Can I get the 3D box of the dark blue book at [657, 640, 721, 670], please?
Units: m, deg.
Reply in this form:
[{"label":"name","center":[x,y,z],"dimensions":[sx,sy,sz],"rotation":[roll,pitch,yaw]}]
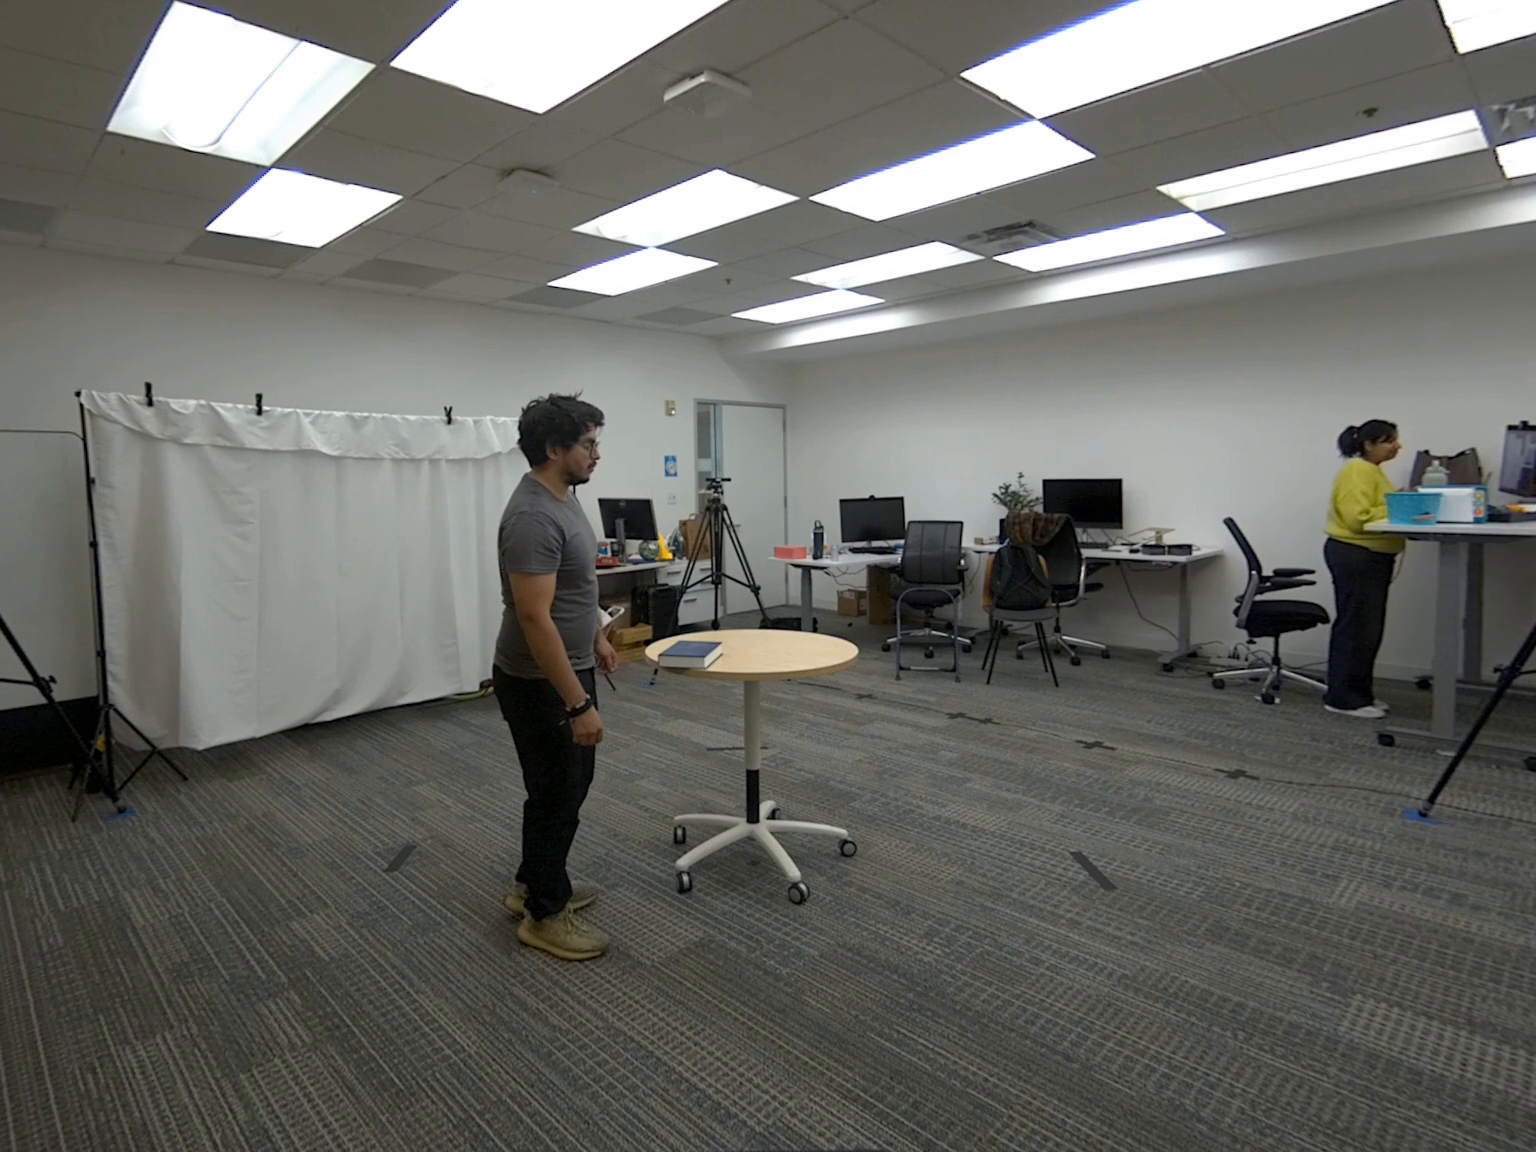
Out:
[{"label":"dark blue book","center":[-0.258,0.264,2.898],"dimensions":[0.165,0.045,0.243],"rotation":[1,6,11]}]
